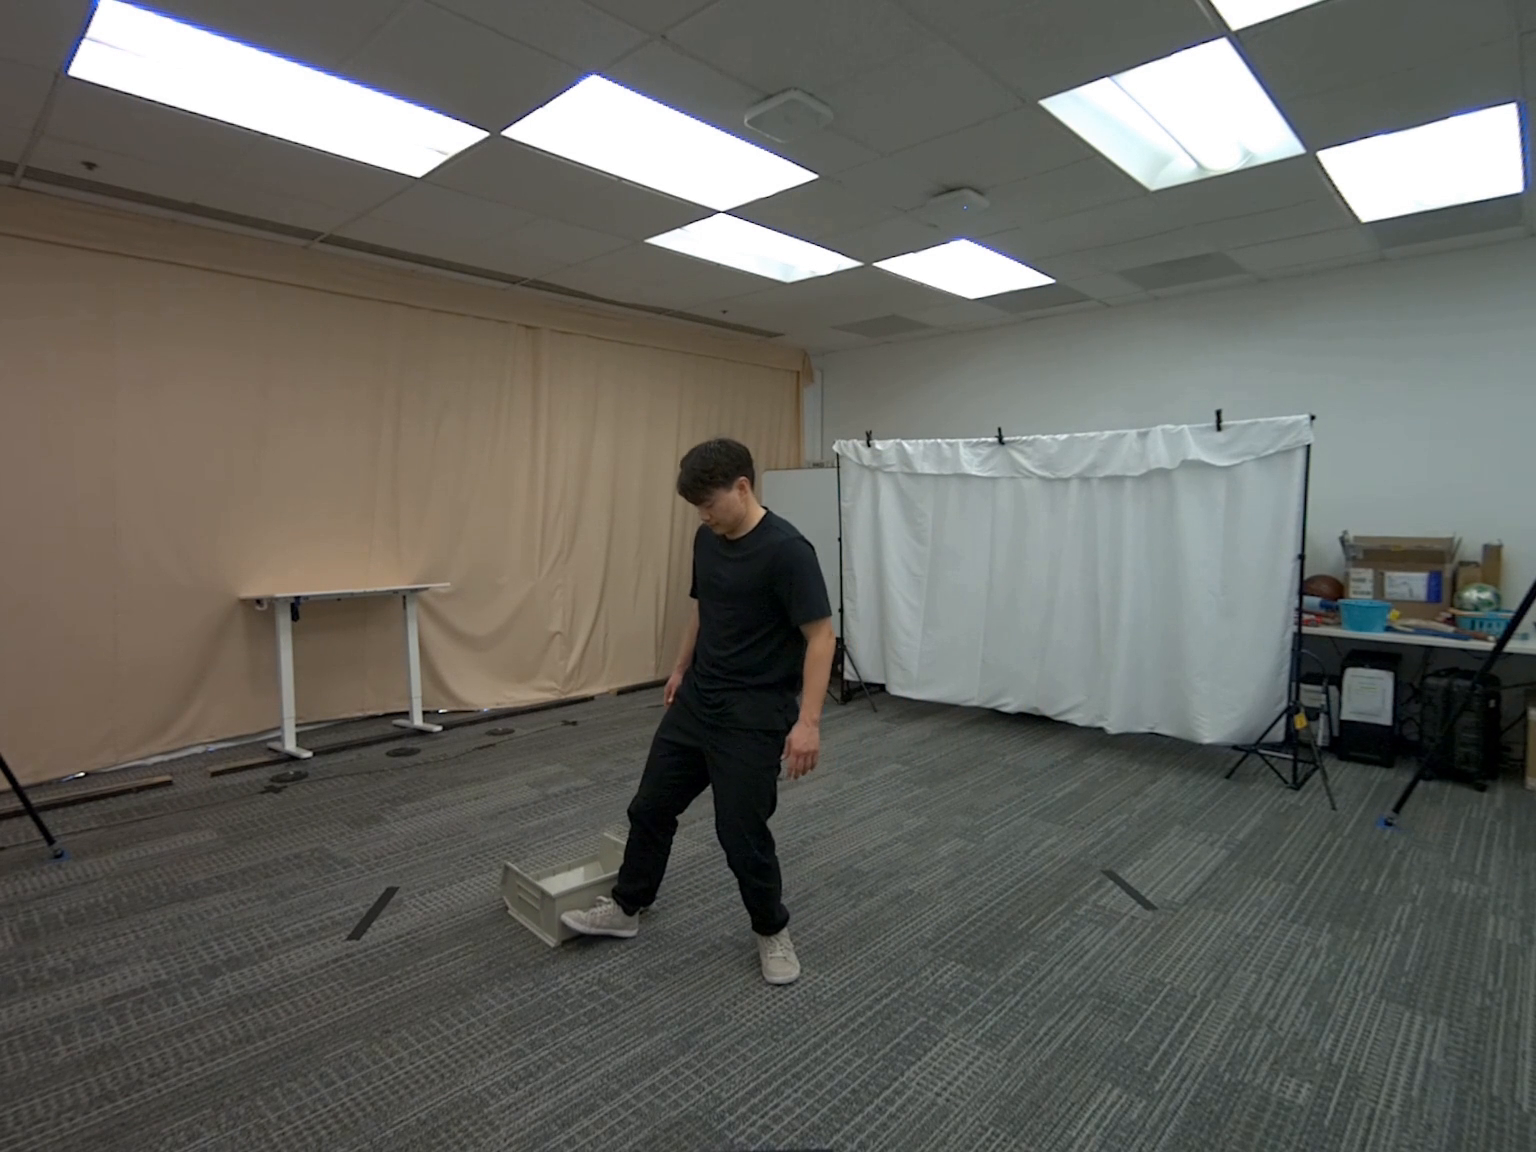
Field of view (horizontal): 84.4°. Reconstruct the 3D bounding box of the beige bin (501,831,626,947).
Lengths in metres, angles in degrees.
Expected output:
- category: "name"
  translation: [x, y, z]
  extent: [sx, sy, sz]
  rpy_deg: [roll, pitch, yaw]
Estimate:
- category: "beige bin"
  translation: [-0.656, 1.069, 2.919]
  extent: [0.409, 0.188, 0.390]
  rpy_deg: [-4, 7, -43]
